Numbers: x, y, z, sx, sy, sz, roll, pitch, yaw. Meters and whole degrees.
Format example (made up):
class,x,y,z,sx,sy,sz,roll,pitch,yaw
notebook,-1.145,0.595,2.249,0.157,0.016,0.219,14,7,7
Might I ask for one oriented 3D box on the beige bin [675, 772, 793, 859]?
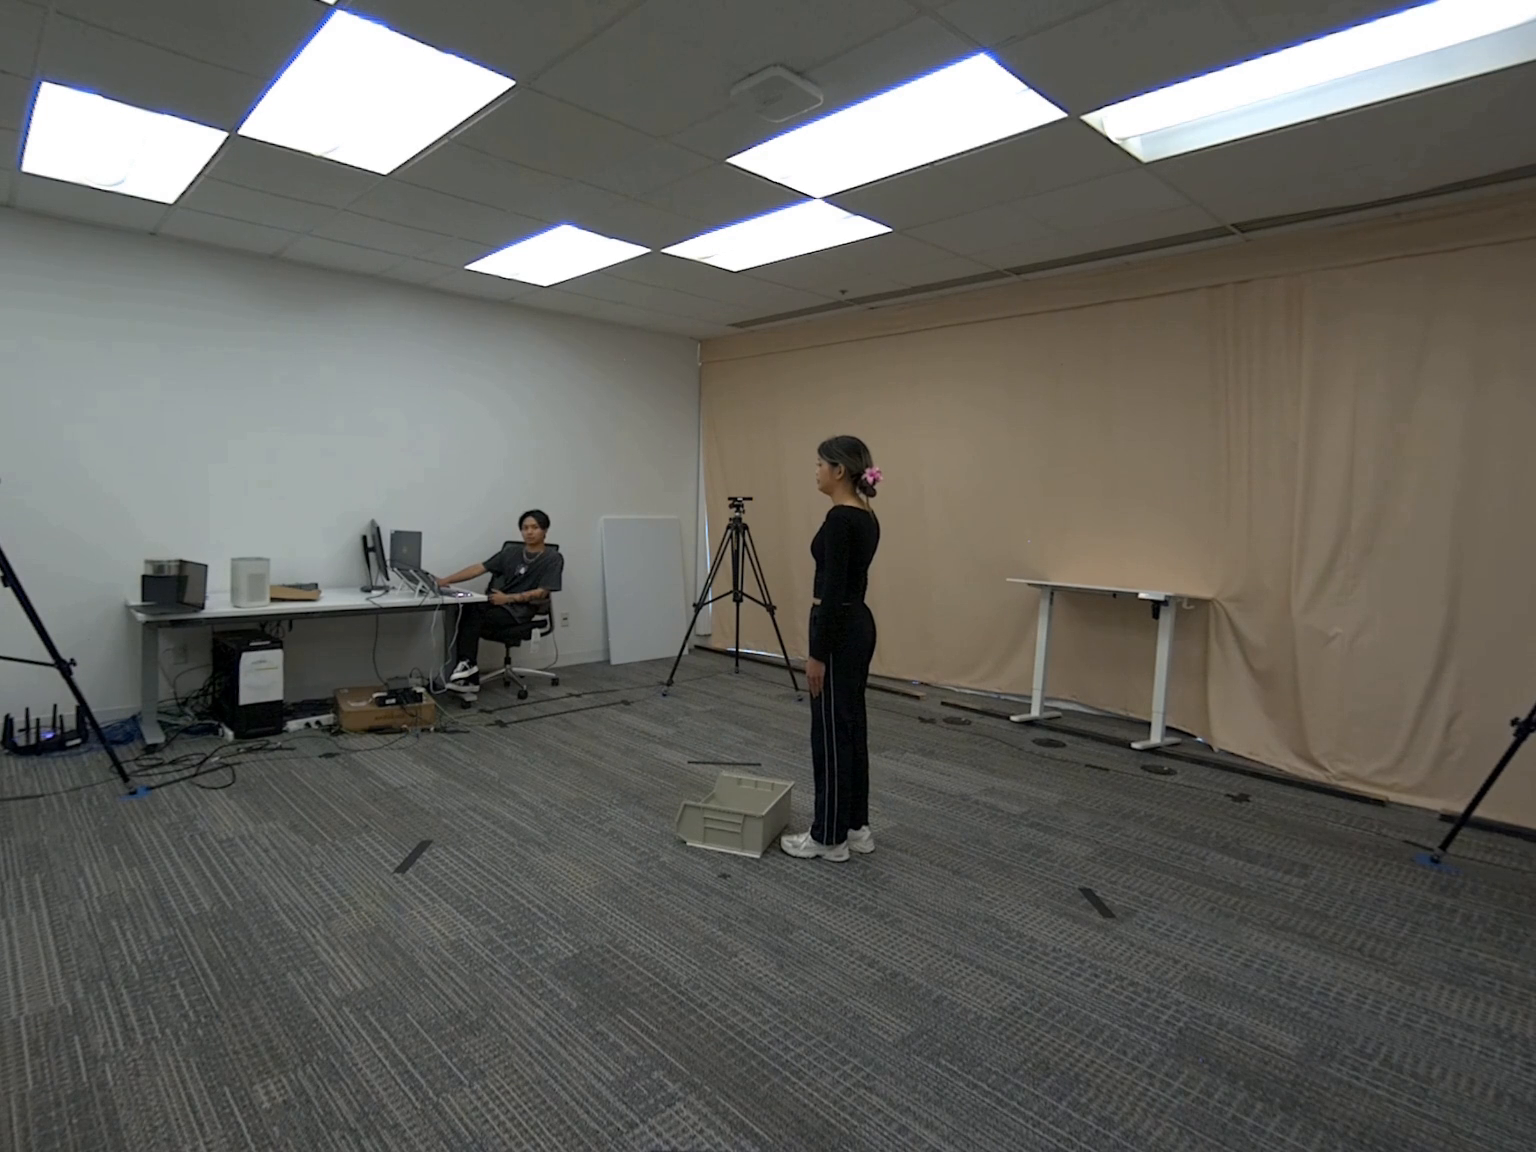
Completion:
class,x,y,z,sx,sy,sz,roll,pitch,yaw
beige bin,-0.143,0.984,3.514,0.383,0.188,0.416,4,5,19
